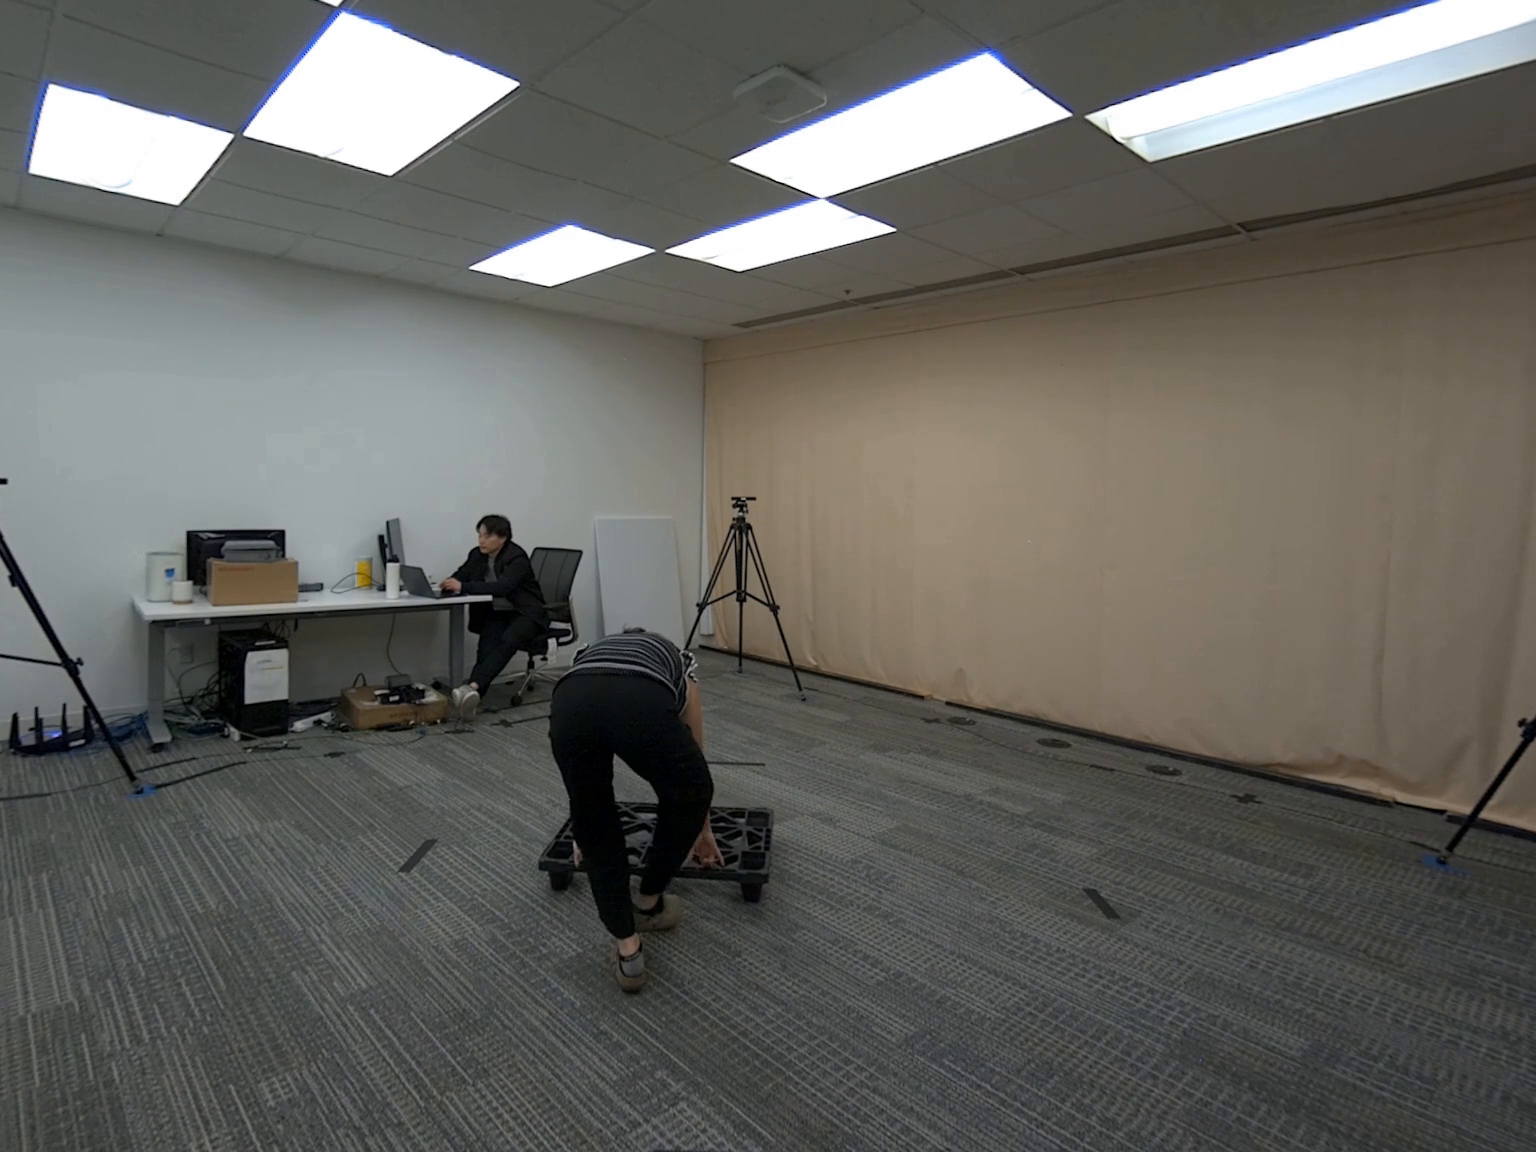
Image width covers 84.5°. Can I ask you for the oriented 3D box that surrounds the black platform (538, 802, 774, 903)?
[{"bbox_3d":[-0.393,1.029,3.163,0.808,0.143,0.604,2,5,4],"label":"black platform"}]
